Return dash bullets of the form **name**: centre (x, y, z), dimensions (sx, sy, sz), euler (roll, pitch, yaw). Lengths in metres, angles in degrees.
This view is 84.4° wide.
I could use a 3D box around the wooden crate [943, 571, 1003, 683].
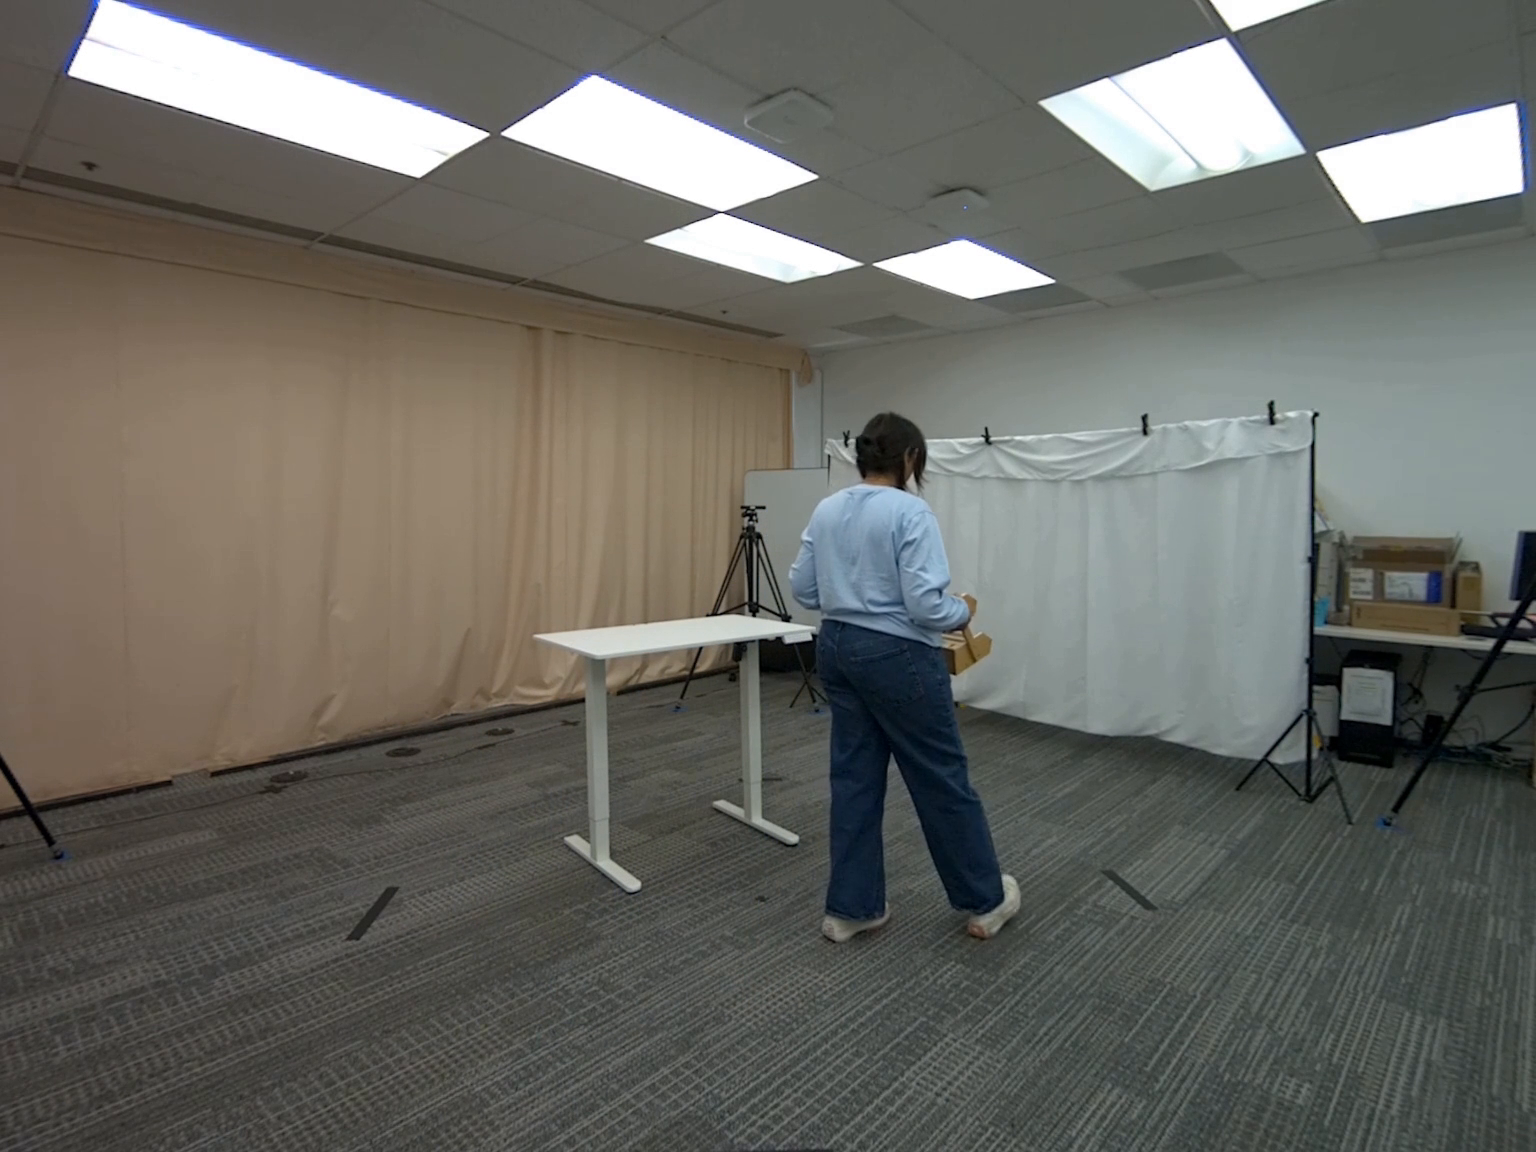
- **wooden crate**: centre (0.584, 0.157, 2.951), dimensions (0.335, 0.270, 0.295), euler (7, 20, 44)
